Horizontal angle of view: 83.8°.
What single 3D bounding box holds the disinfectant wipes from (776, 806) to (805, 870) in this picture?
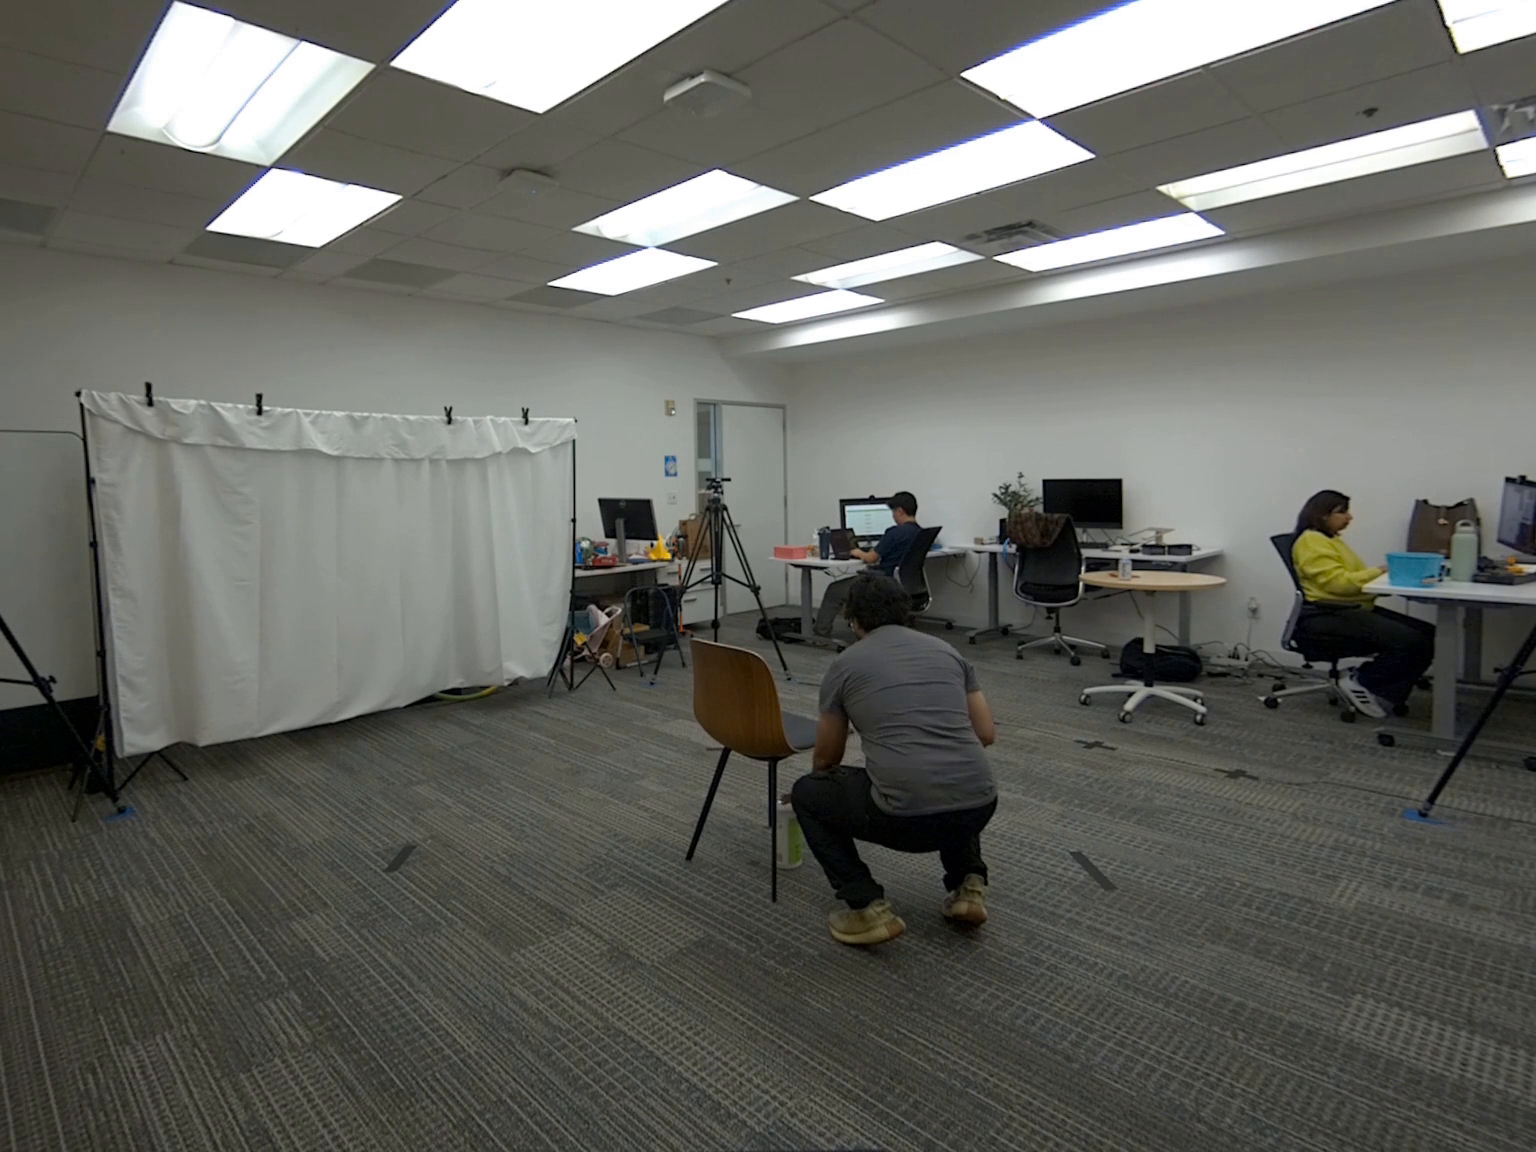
[{"bbox_3d":[0.075,0.946,3.078,0.118,0.216,0.118,0,6,-2],"label":"disinfectant wipes"}]
